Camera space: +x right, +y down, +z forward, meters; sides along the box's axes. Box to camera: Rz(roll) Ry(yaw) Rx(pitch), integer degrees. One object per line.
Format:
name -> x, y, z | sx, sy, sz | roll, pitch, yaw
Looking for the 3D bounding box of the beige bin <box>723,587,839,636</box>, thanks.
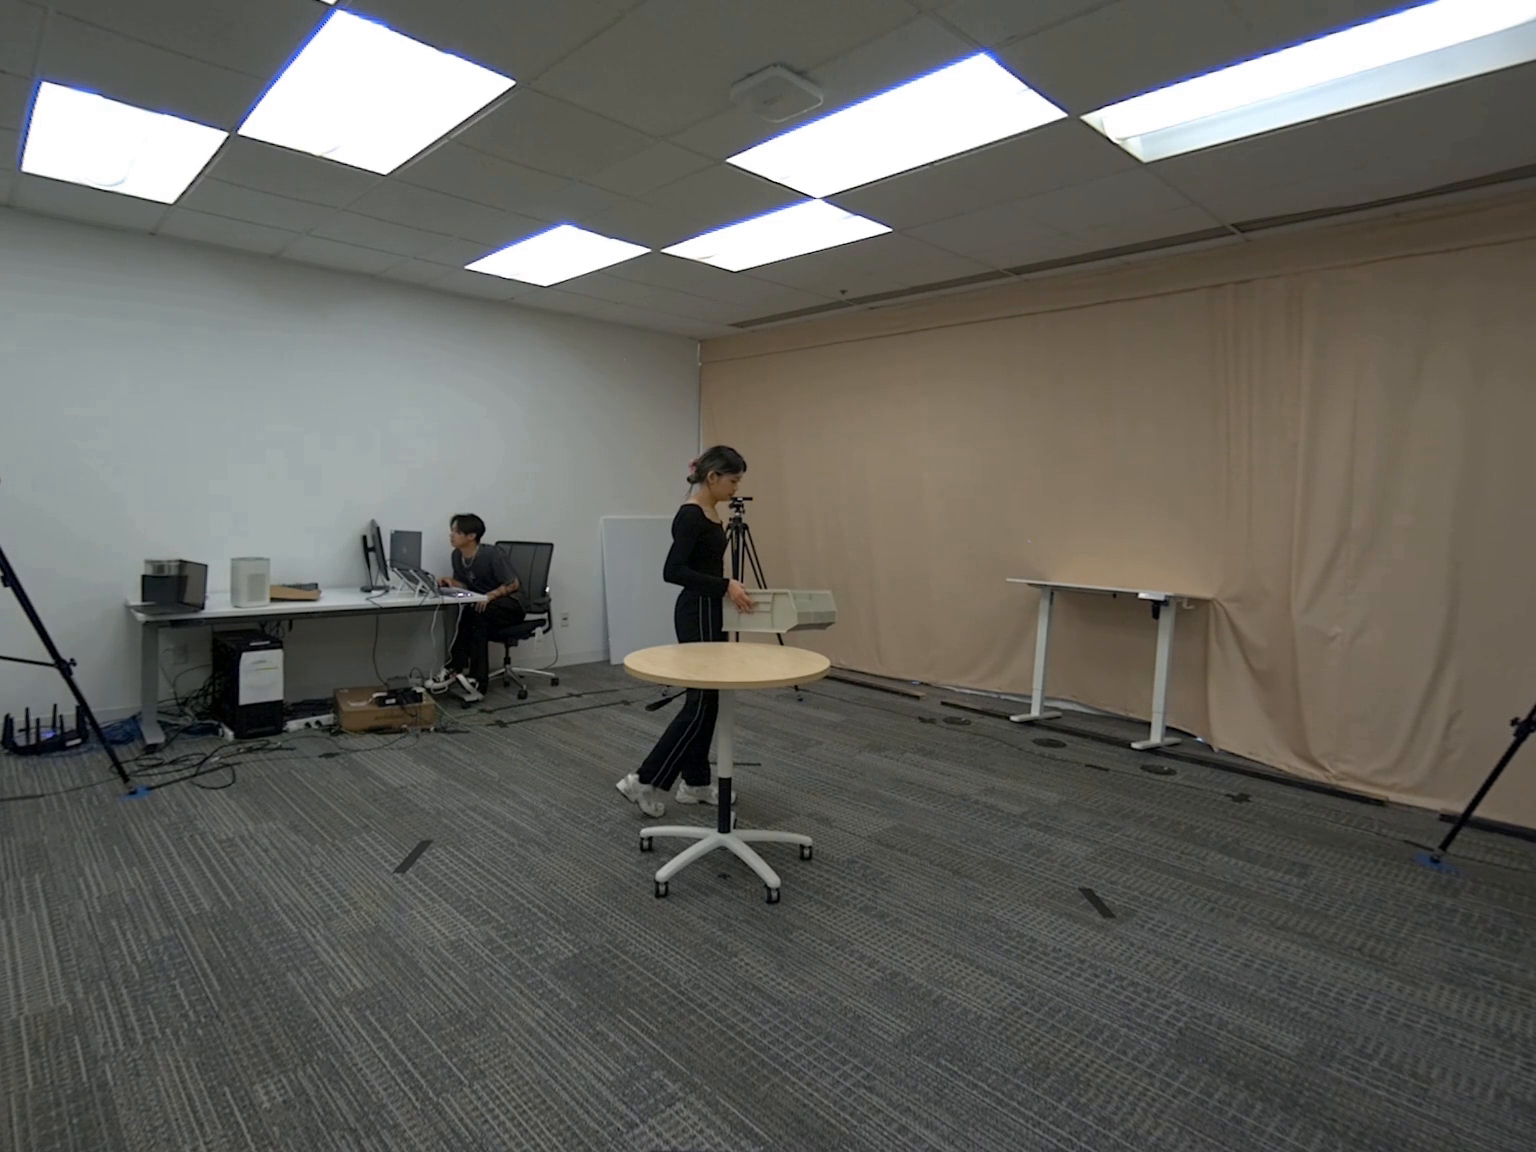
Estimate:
beige bin -> 0.049, 0.149, 3.723 | 0.385, 0.189, 0.413 | -2, -1, 28
